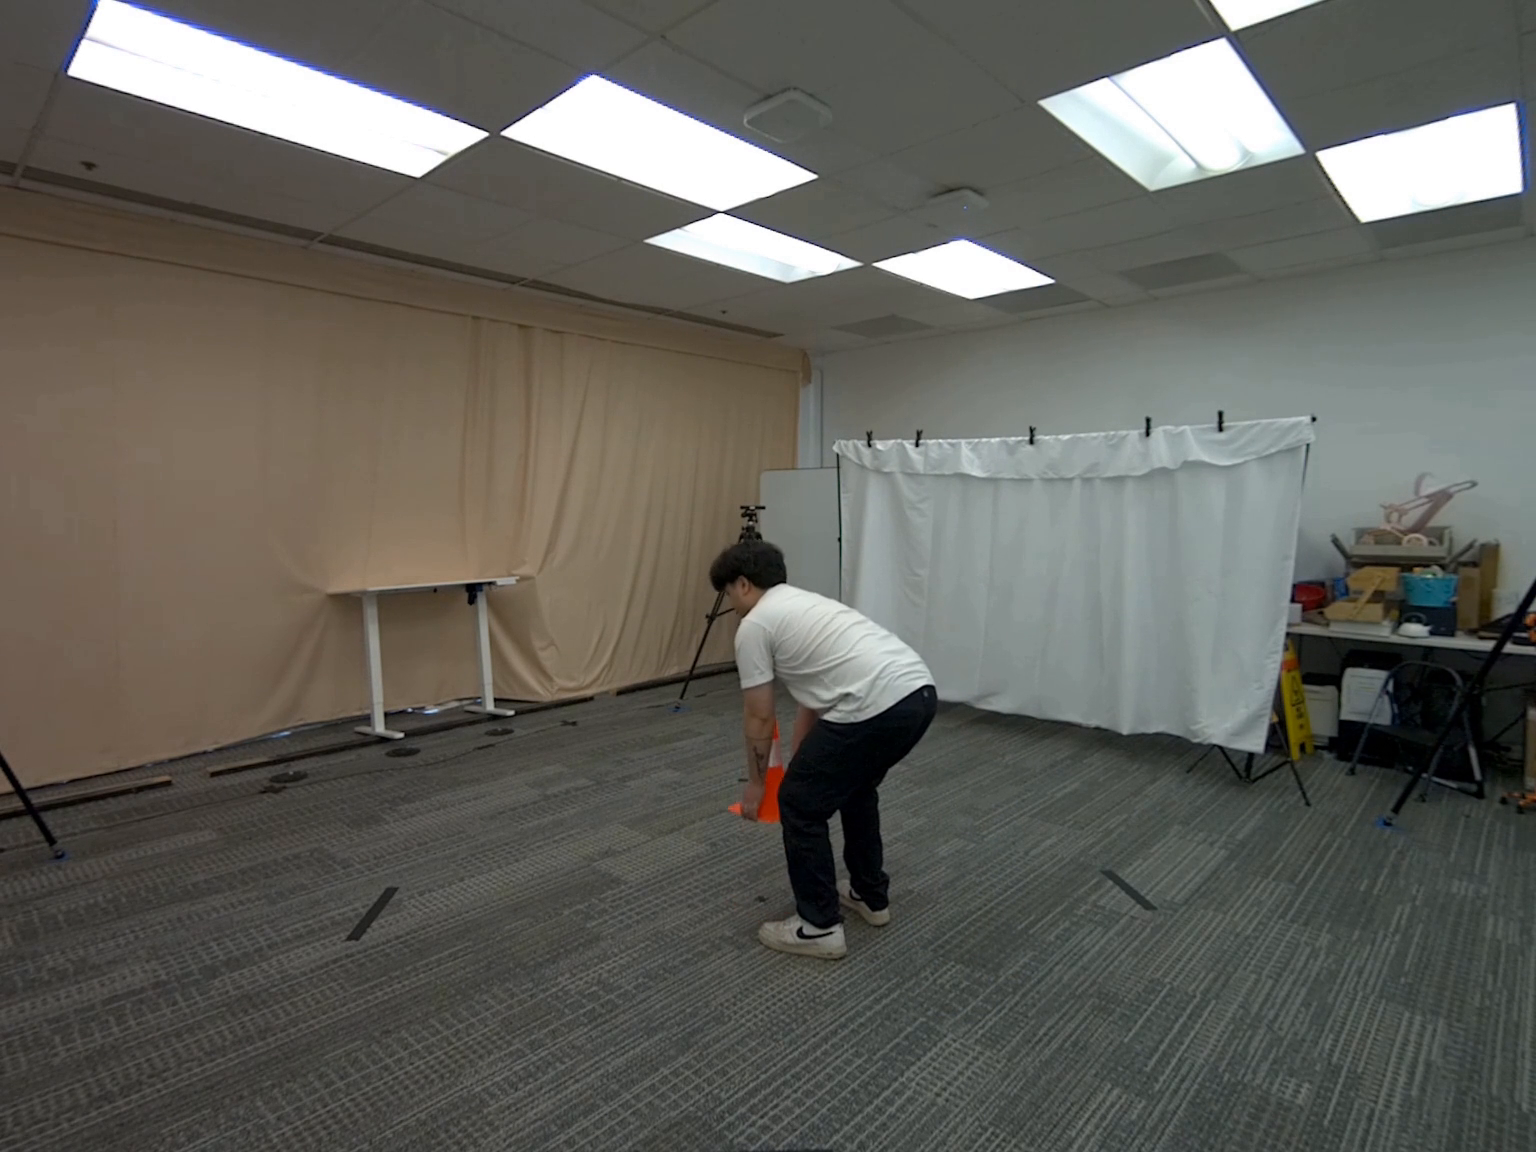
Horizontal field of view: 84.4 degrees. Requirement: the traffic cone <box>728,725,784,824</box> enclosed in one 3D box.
[{"bbox_3d":[0.002,0.639,2.947,0.199,0.383,0.210,-2,5,-37],"label":"traffic cone"}]
